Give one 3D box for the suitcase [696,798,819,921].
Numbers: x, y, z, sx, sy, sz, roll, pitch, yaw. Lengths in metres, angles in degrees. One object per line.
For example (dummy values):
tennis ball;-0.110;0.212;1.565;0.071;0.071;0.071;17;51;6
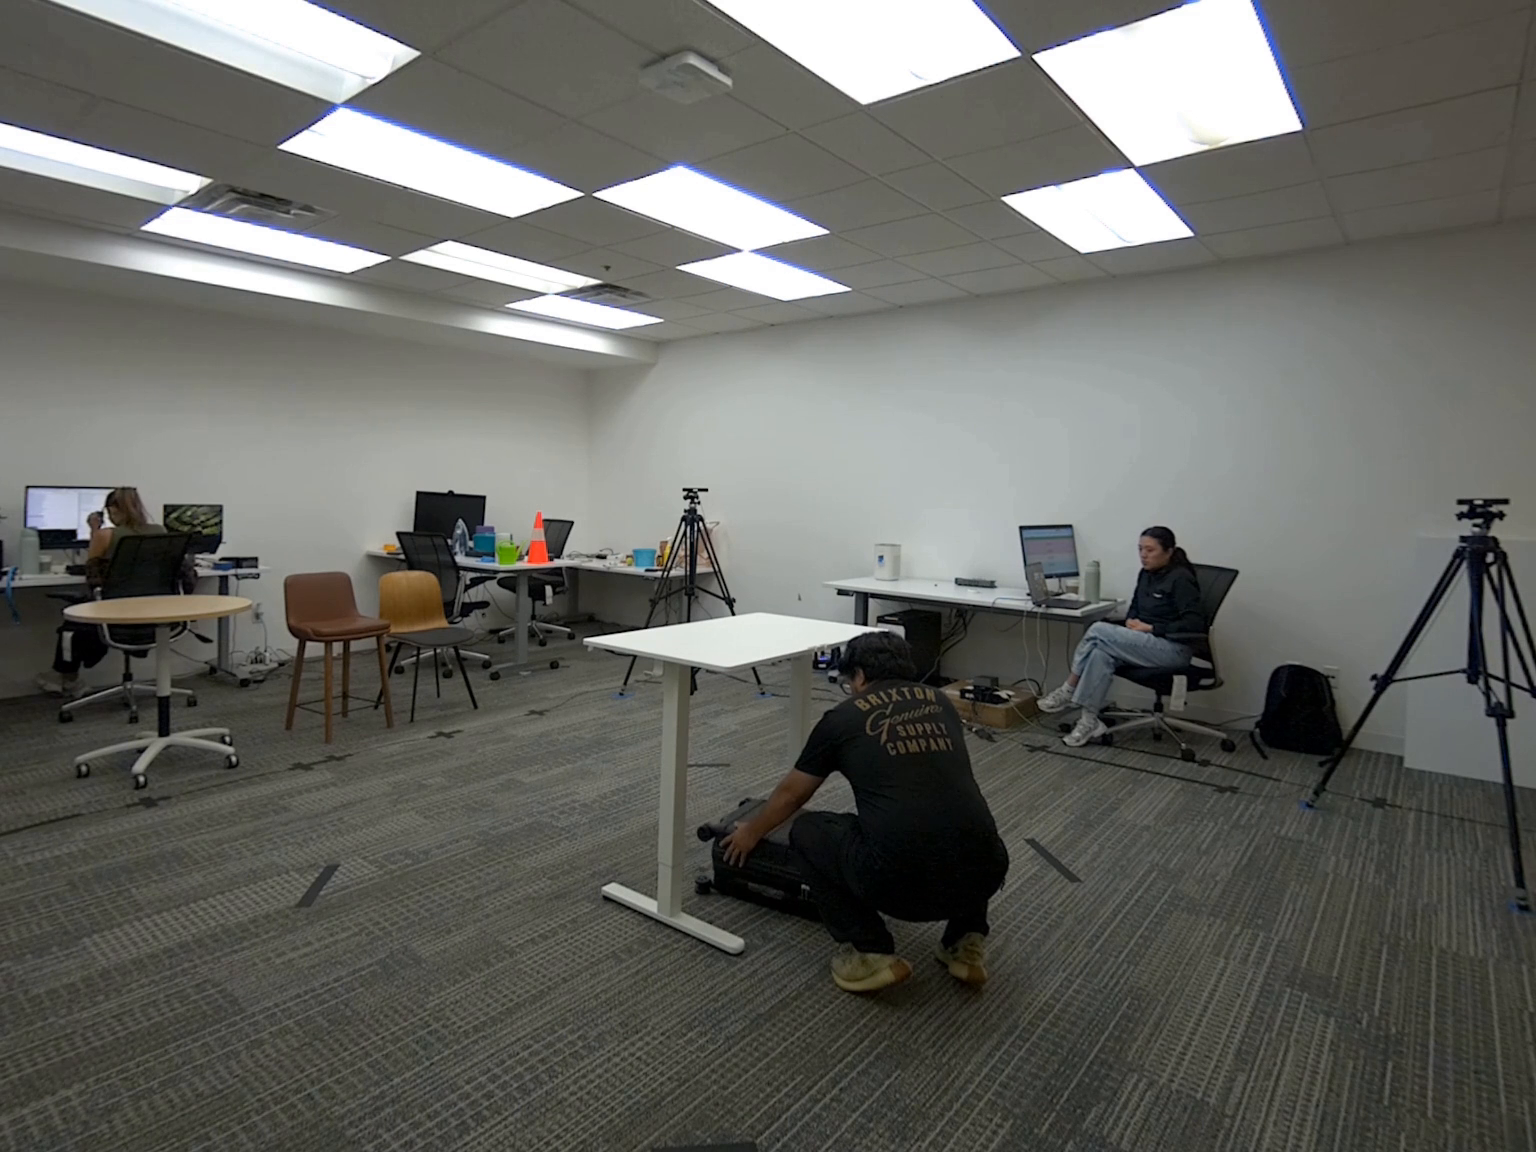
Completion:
suitcase;0.061;0.970;2.947;0.565;0.248;0.366;3;4;29
